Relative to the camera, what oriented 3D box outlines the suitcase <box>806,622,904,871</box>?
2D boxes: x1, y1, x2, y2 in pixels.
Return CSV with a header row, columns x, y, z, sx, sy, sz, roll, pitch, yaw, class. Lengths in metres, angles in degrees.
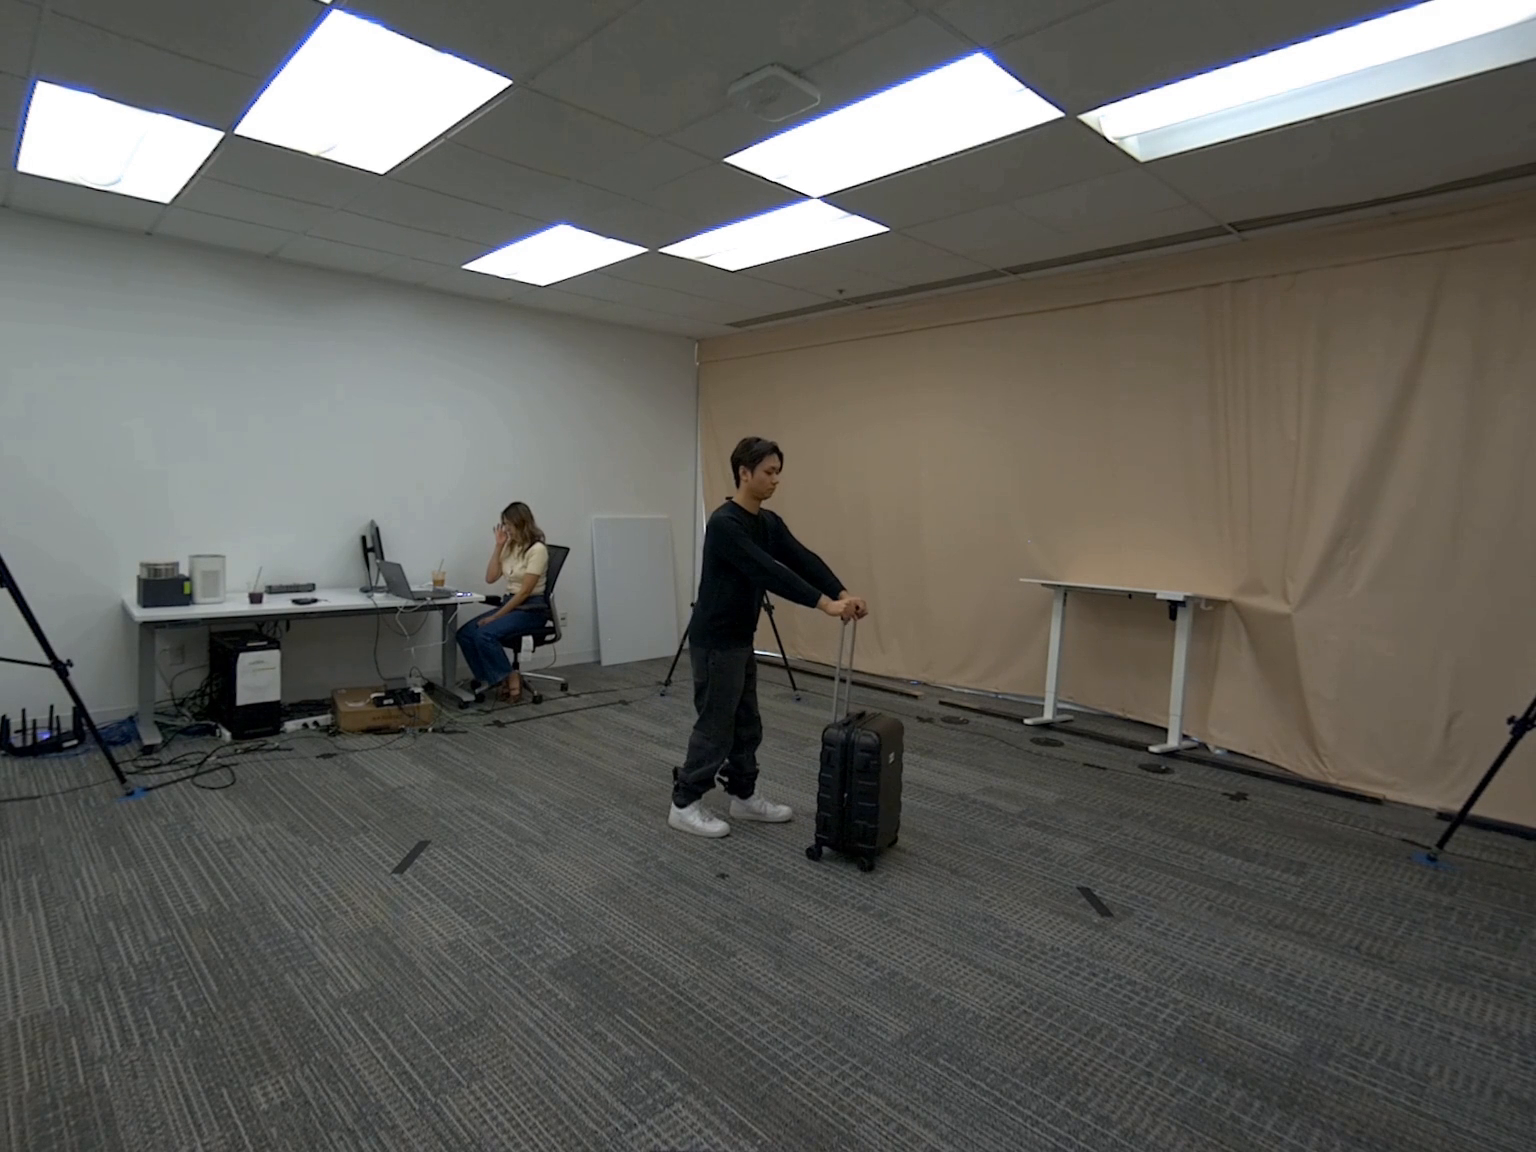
x,y,z,sx,sy,sz,roll,pitch,yaw,class
0.377,0.624,3.303,0.262,0.976,0.377,6,5,26,suitcase
